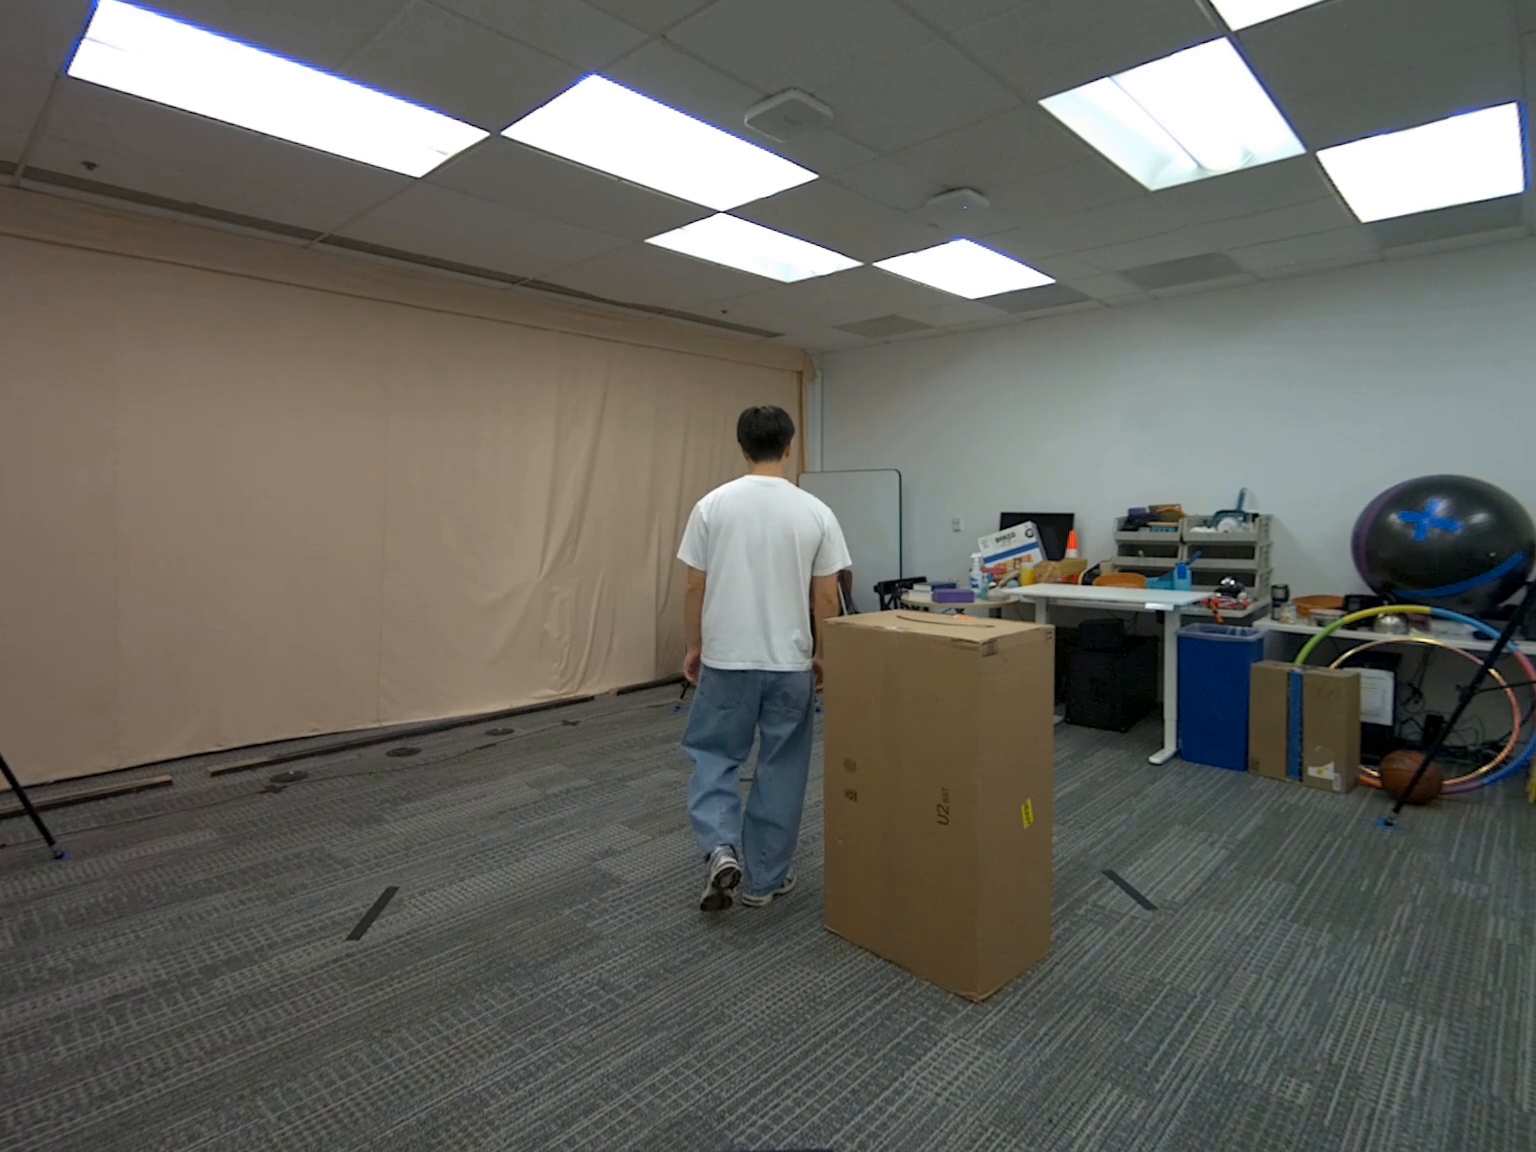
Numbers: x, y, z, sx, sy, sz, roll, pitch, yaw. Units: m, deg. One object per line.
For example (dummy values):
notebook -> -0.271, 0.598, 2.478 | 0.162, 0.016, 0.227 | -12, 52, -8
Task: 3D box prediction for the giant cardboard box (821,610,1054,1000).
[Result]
giant cardboard box -> 0.540, 0.659, 2.672 | 0.413, 1.024, 0.597 | -3, 4, -43
